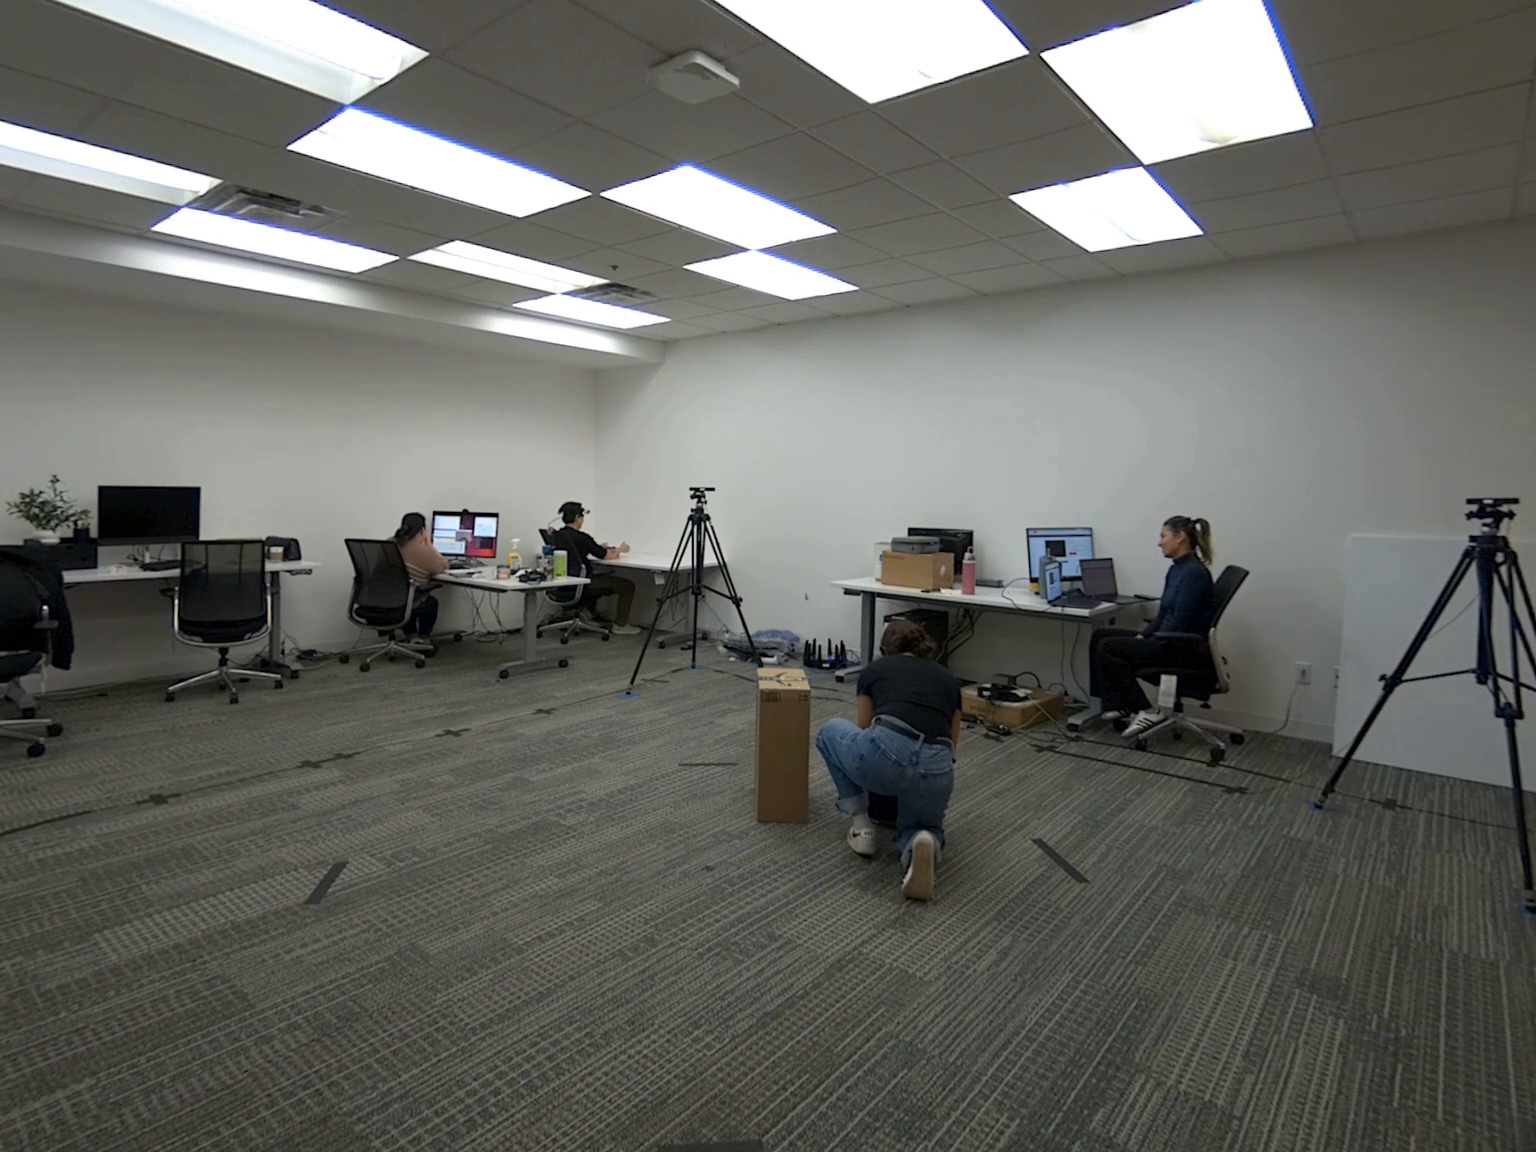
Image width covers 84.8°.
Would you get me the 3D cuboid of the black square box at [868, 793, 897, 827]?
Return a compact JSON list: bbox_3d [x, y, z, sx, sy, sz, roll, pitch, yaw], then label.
[{"bbox_3d":[0.522,0.879,3.544,0.220,0.227,0.154,2,4,12],"label":"black square box"}]
